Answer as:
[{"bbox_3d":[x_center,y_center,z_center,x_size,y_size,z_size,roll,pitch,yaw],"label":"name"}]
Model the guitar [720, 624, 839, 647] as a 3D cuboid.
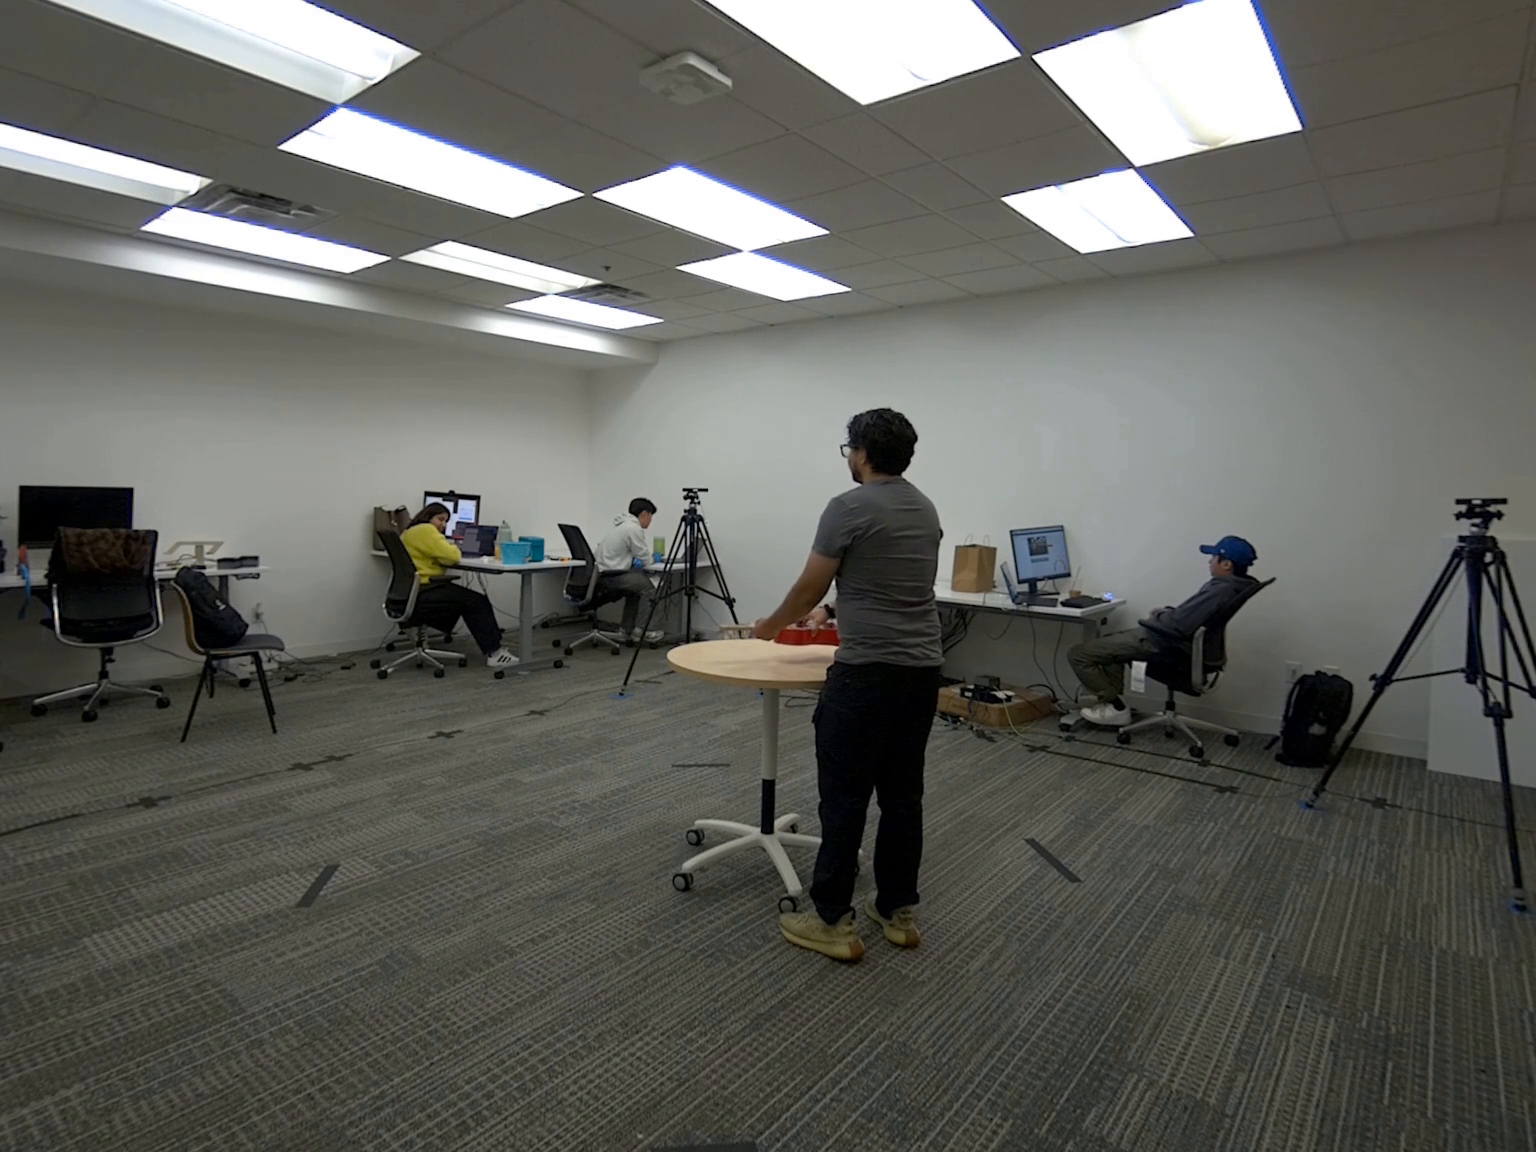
[{"bbox_3d":[0.031,0.199,3.043,0.491,0.071,0.196,0,2,-13],"label":"guitar"}]
